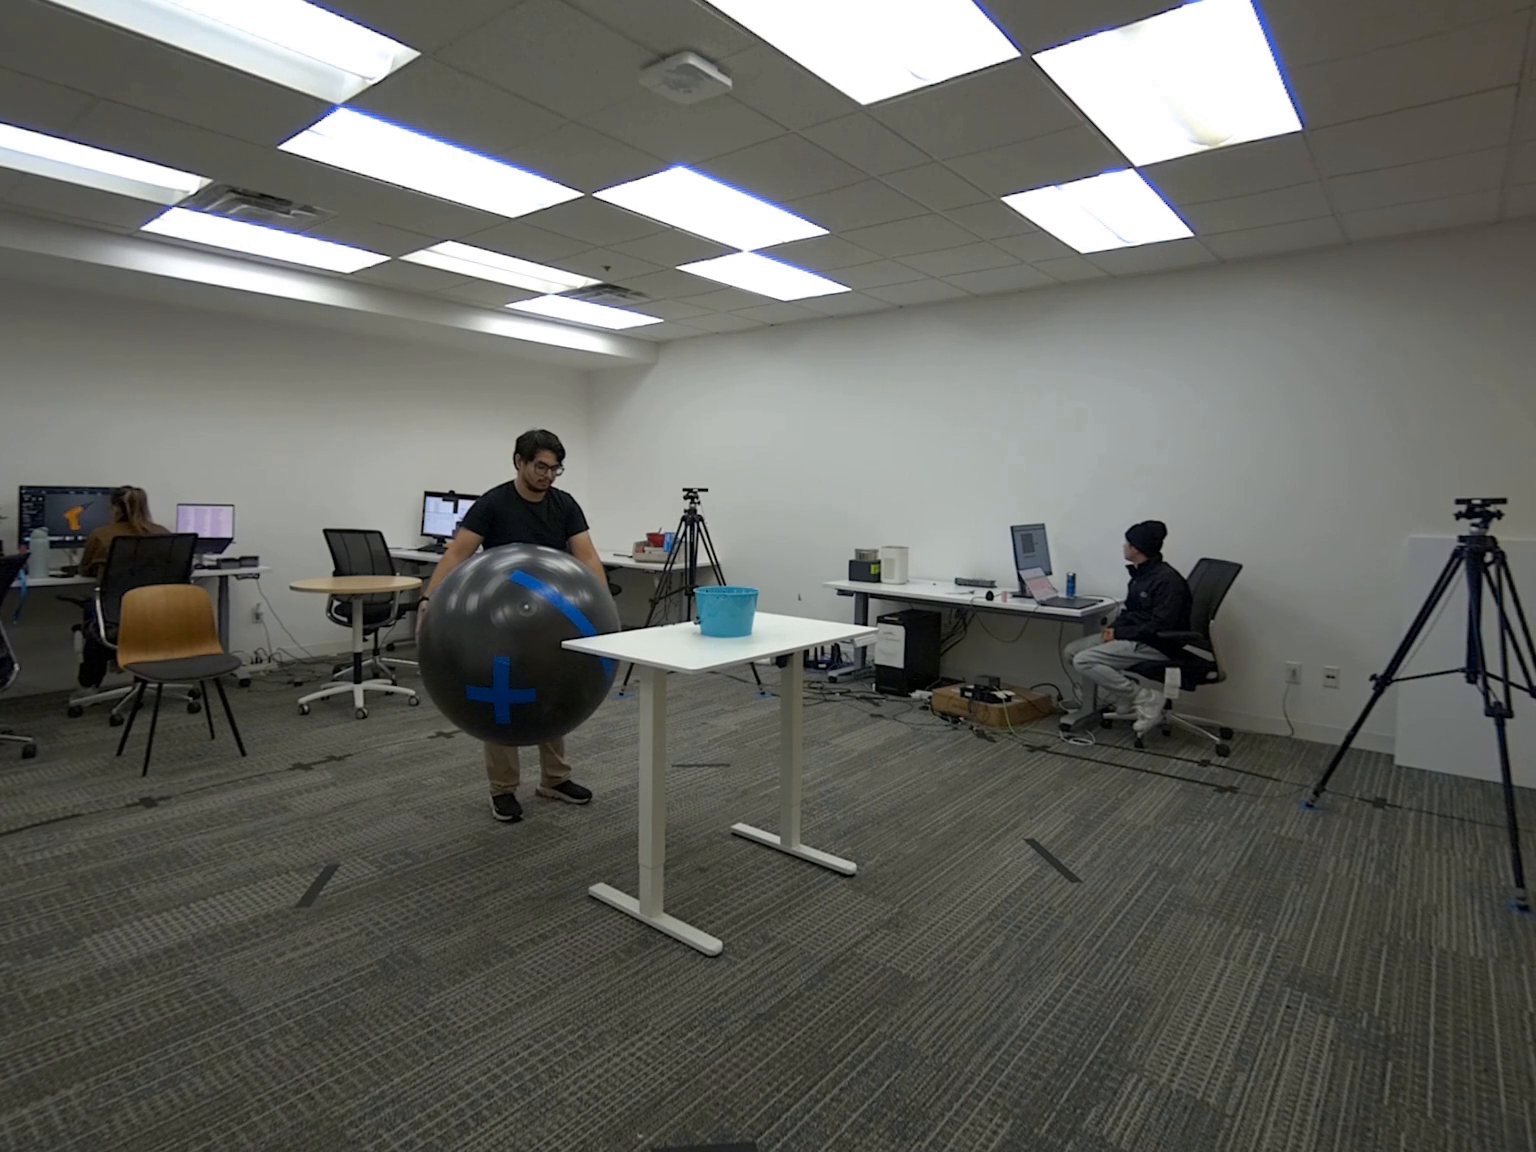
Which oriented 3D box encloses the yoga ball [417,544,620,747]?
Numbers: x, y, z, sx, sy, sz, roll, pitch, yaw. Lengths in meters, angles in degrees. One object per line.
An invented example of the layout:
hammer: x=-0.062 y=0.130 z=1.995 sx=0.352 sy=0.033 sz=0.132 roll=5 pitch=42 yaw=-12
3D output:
yoga ball: x=-0.962 y=0.263 z=3.227 sx=0.757 sy=0.755 sz=0.762 roll=1 pitch=4 yaw=-2
